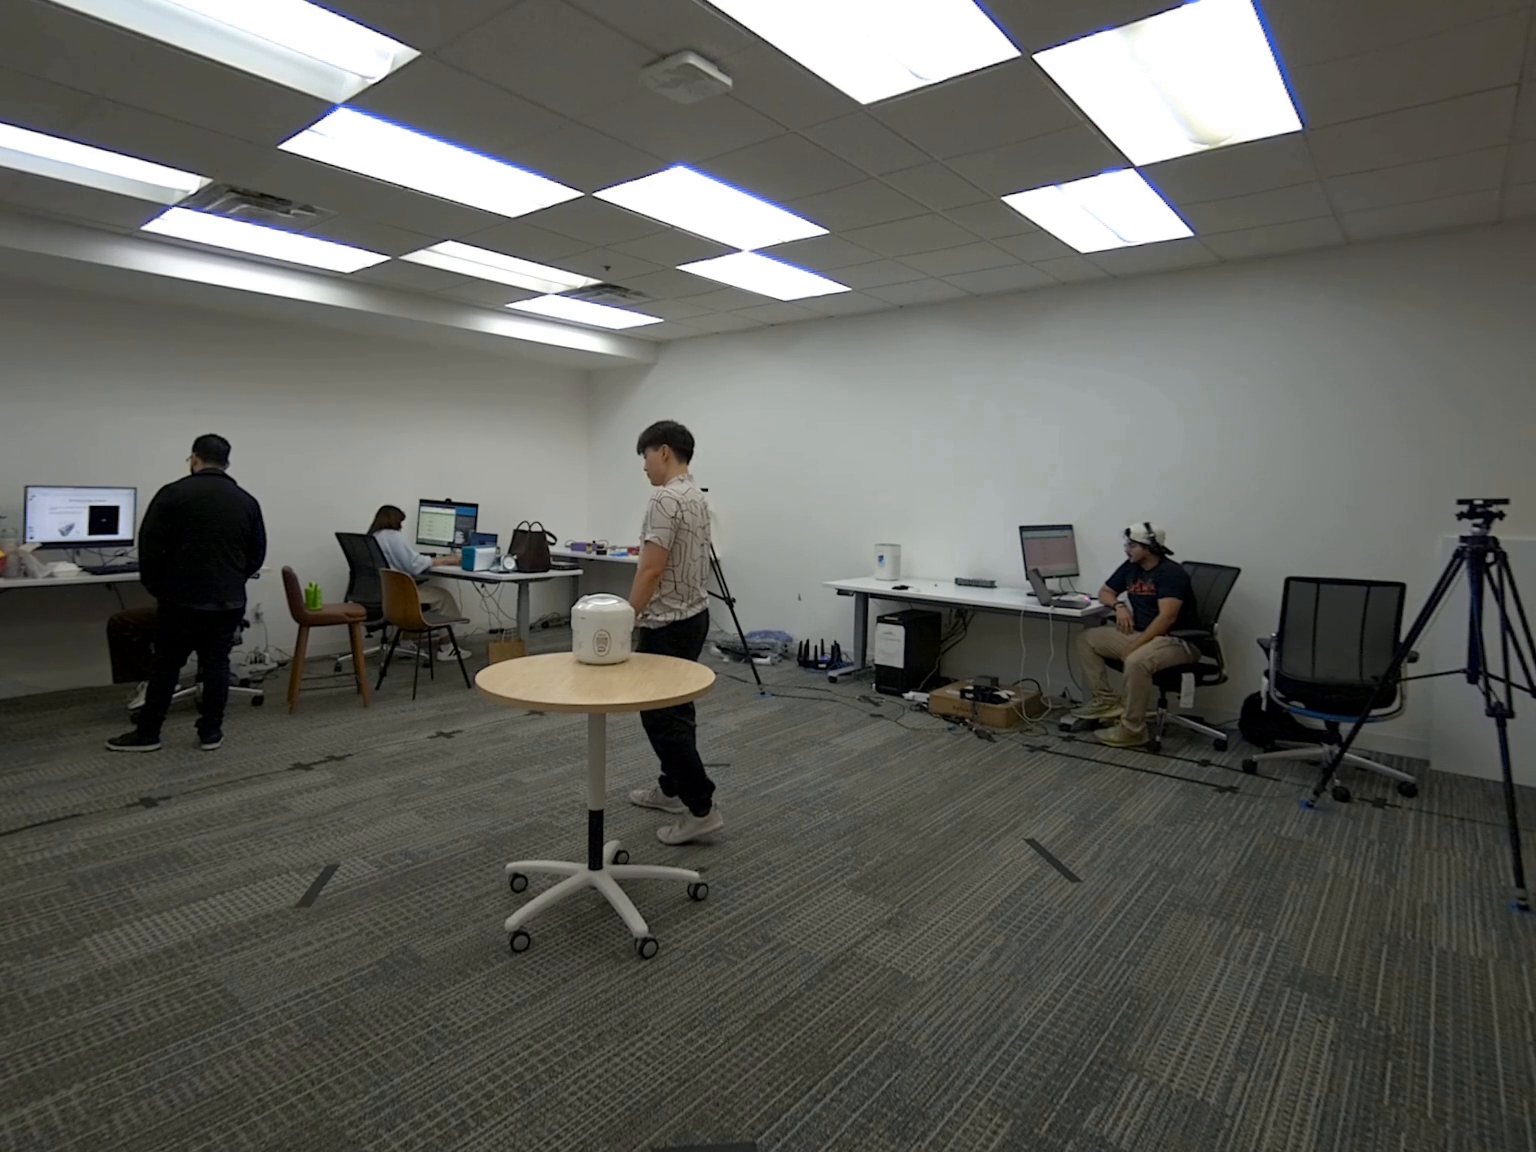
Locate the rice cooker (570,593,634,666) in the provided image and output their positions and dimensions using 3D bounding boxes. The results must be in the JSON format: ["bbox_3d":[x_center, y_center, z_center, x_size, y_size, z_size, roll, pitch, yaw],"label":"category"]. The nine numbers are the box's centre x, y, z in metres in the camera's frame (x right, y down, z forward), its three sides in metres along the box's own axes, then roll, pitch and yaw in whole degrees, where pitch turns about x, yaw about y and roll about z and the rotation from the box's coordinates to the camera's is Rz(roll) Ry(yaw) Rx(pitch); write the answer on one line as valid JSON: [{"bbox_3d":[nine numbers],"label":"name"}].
[{"bbox_3d":[-0.587,0.176,2.969,0.219,0.232,0.220,1,5,-8],"label":"rice cooker"}]
